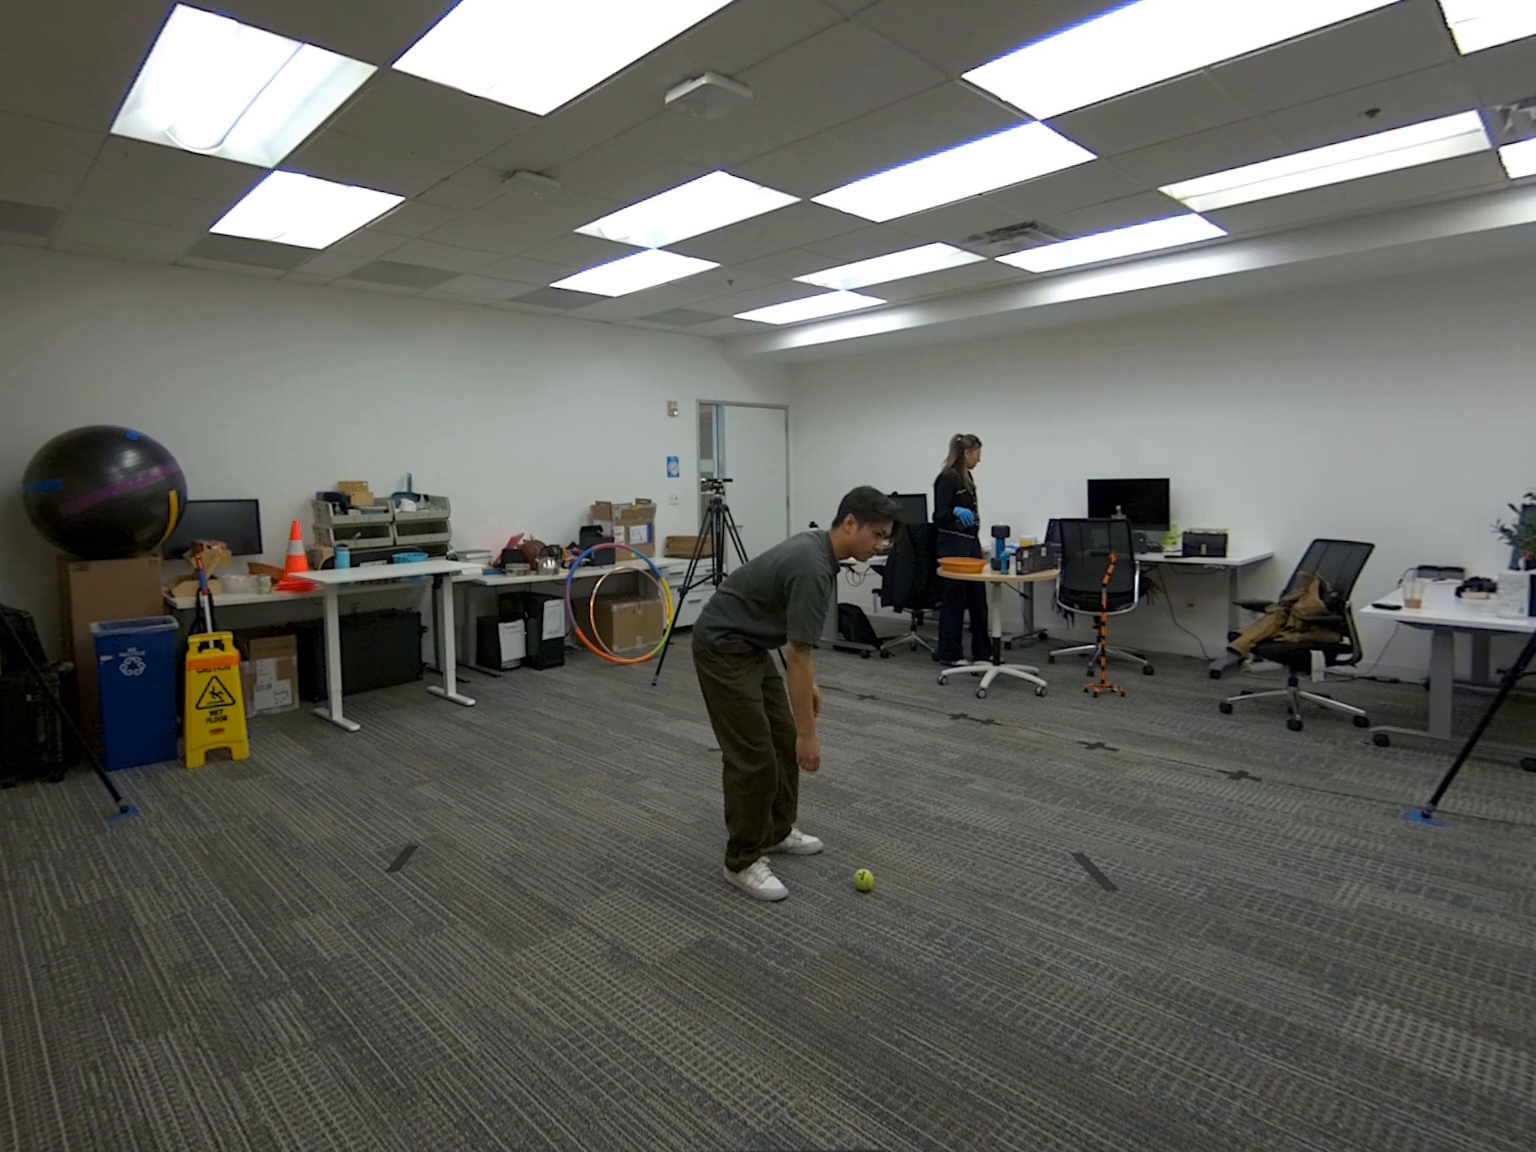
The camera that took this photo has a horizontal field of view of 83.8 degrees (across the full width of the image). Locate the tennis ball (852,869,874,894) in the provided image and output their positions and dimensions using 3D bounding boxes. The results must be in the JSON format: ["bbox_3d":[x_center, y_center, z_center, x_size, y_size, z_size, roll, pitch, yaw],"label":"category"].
[{"bbox_3d":[0.330,1.016,2.886,0.066,0.066,0.067,-1,5,-2],"label":"tennis ball"}]
